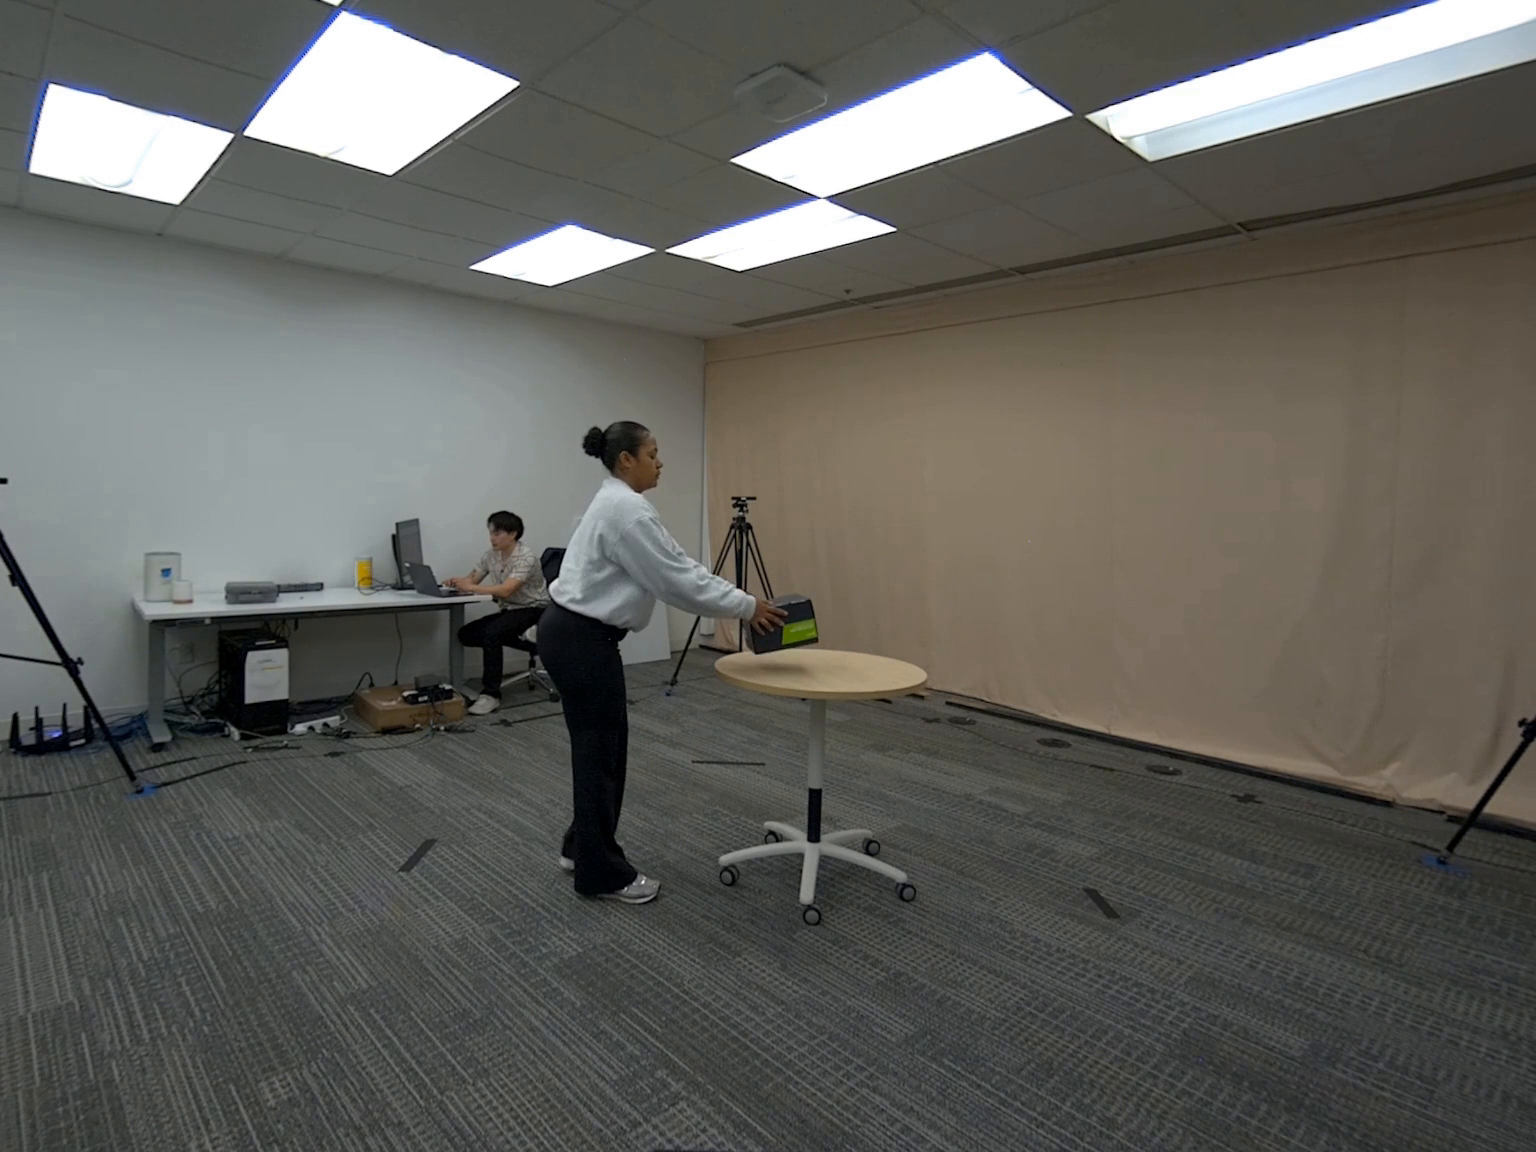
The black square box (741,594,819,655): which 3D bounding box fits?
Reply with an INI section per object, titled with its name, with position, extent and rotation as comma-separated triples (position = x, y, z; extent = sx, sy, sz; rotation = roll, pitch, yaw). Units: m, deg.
[black square box]
position = 0.026, 0.162, 3.007
extent = 0.227, 0.156, 0.218
rotation = -9, 2, -5
